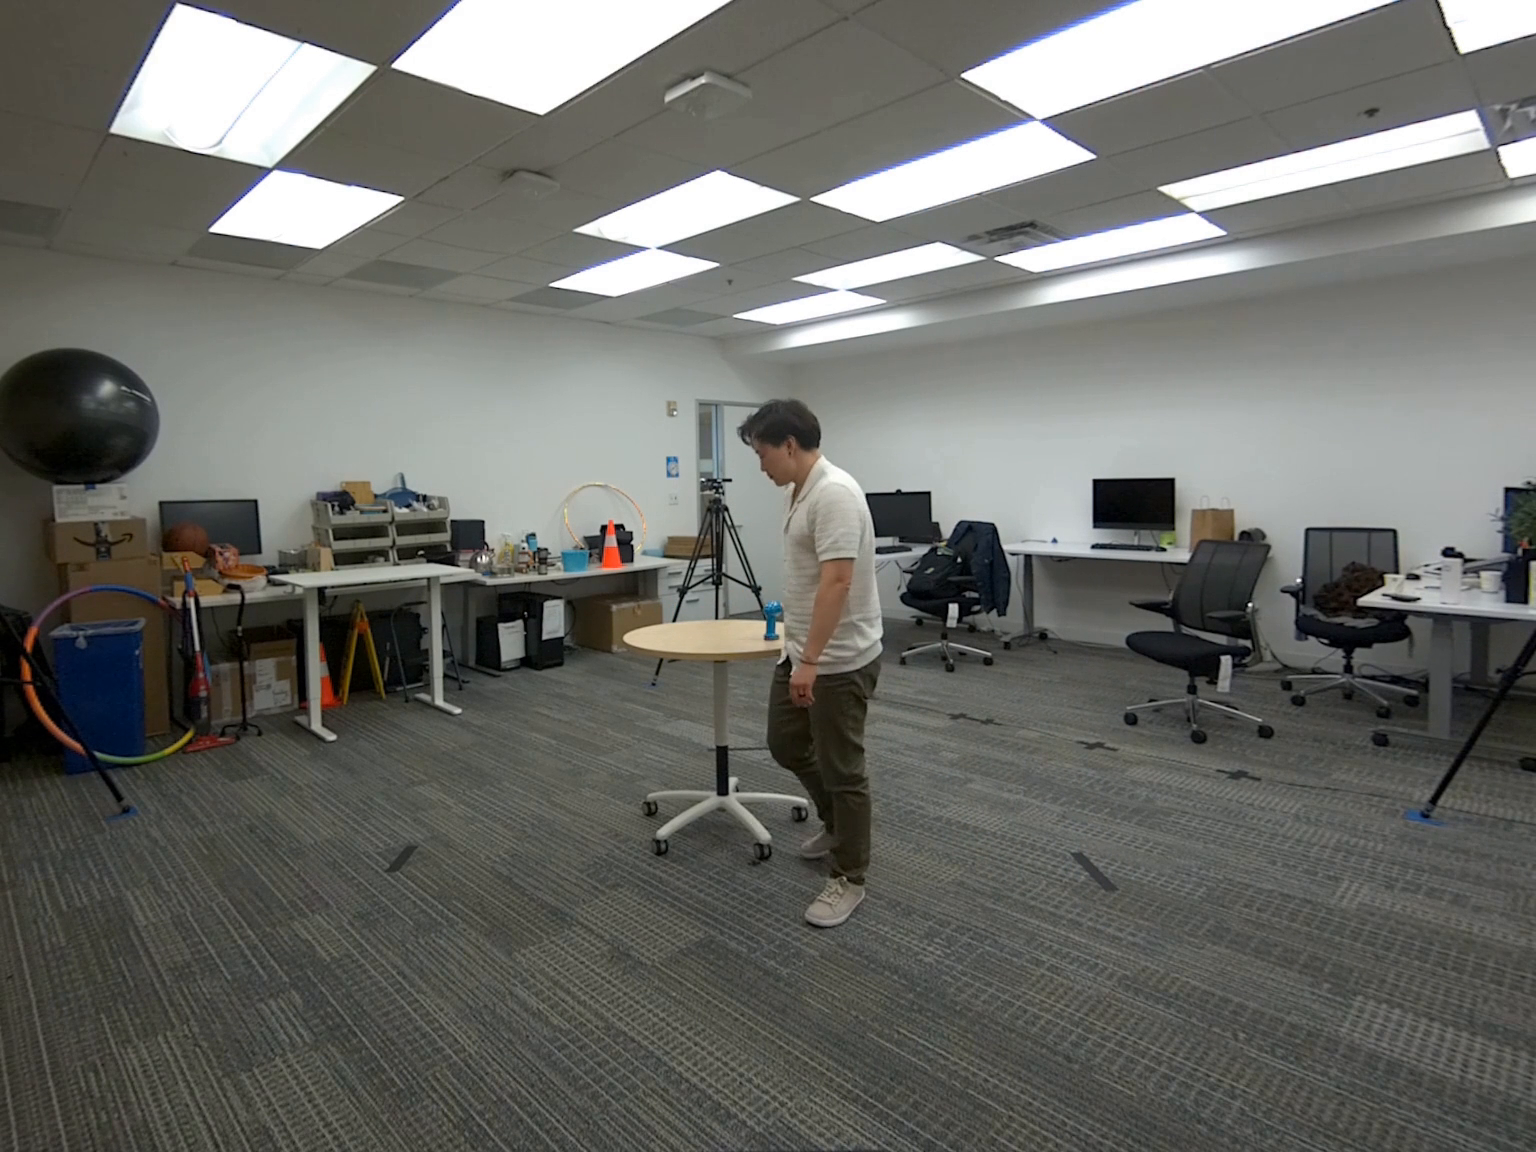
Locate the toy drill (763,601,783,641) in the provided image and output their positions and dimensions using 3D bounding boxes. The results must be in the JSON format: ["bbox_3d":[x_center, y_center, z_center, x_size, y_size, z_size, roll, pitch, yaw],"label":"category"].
[{"bbox_3d":[0.026,0.165,3.285,0.062,0.146,0.167,0,3,15],"label":"toy drill"}]
